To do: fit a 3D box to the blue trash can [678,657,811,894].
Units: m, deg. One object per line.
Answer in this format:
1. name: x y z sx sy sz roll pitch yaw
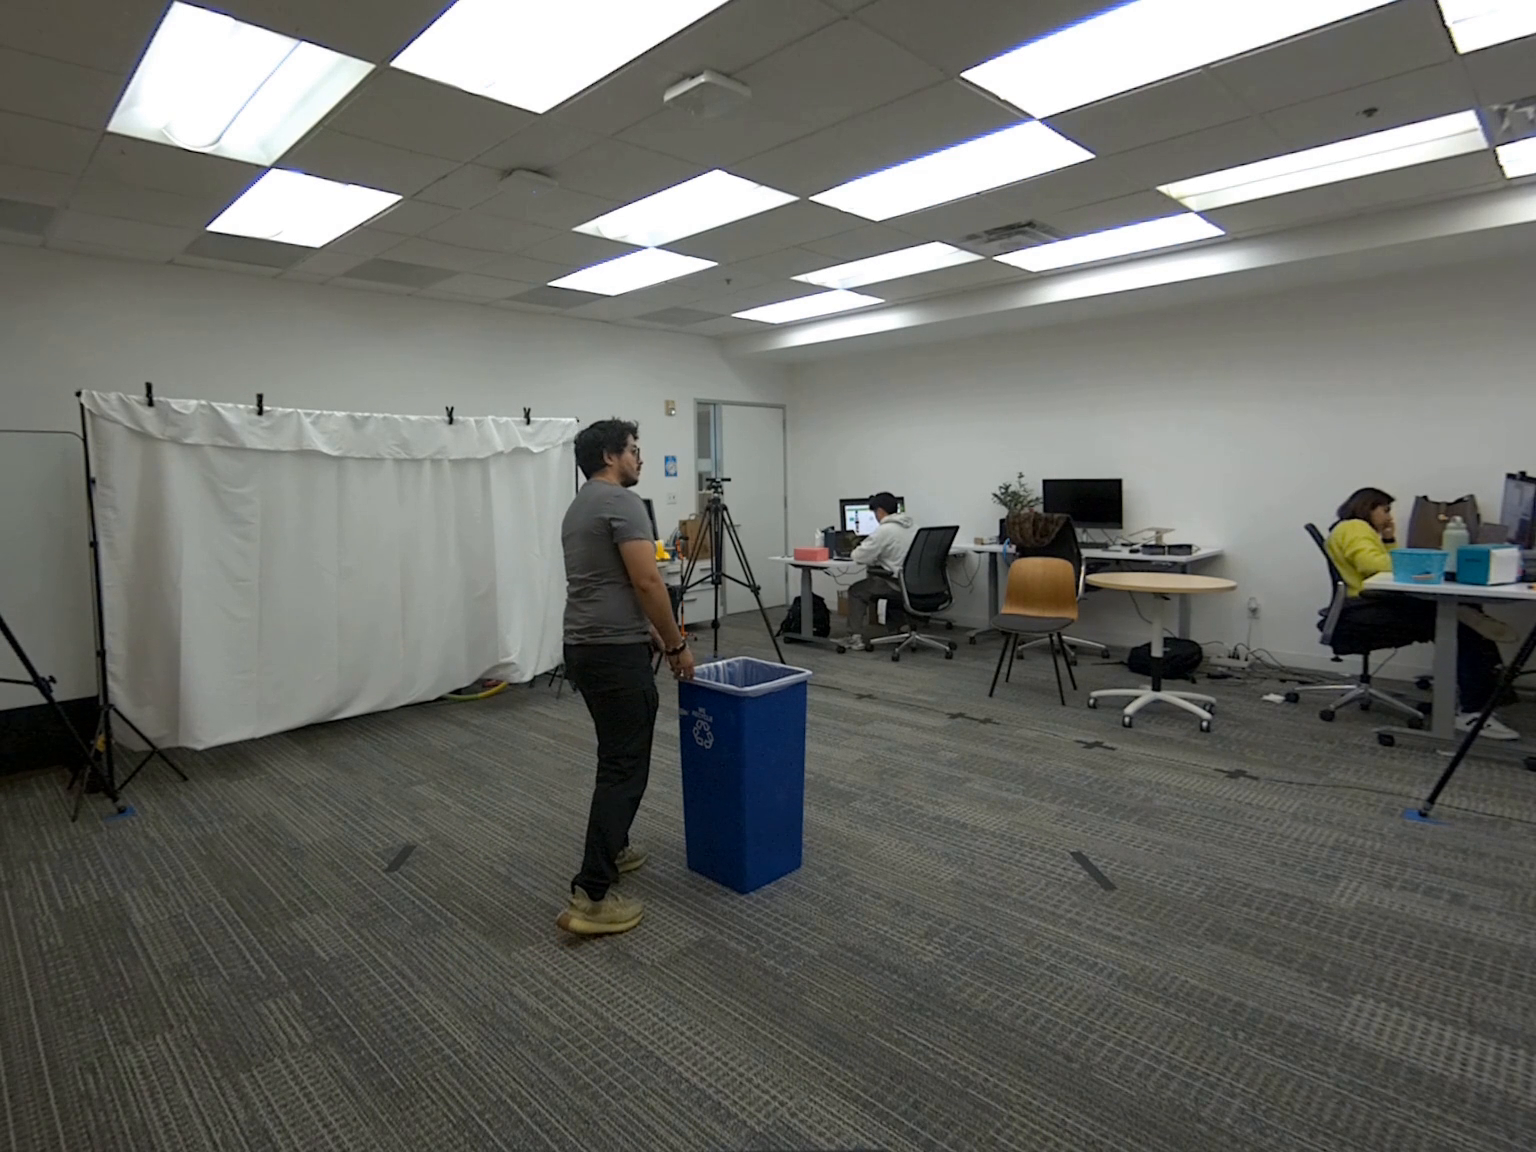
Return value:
1. blue trash can: -0.084 0.692 3.059 0.390 0.710 0.364 4 7 43
